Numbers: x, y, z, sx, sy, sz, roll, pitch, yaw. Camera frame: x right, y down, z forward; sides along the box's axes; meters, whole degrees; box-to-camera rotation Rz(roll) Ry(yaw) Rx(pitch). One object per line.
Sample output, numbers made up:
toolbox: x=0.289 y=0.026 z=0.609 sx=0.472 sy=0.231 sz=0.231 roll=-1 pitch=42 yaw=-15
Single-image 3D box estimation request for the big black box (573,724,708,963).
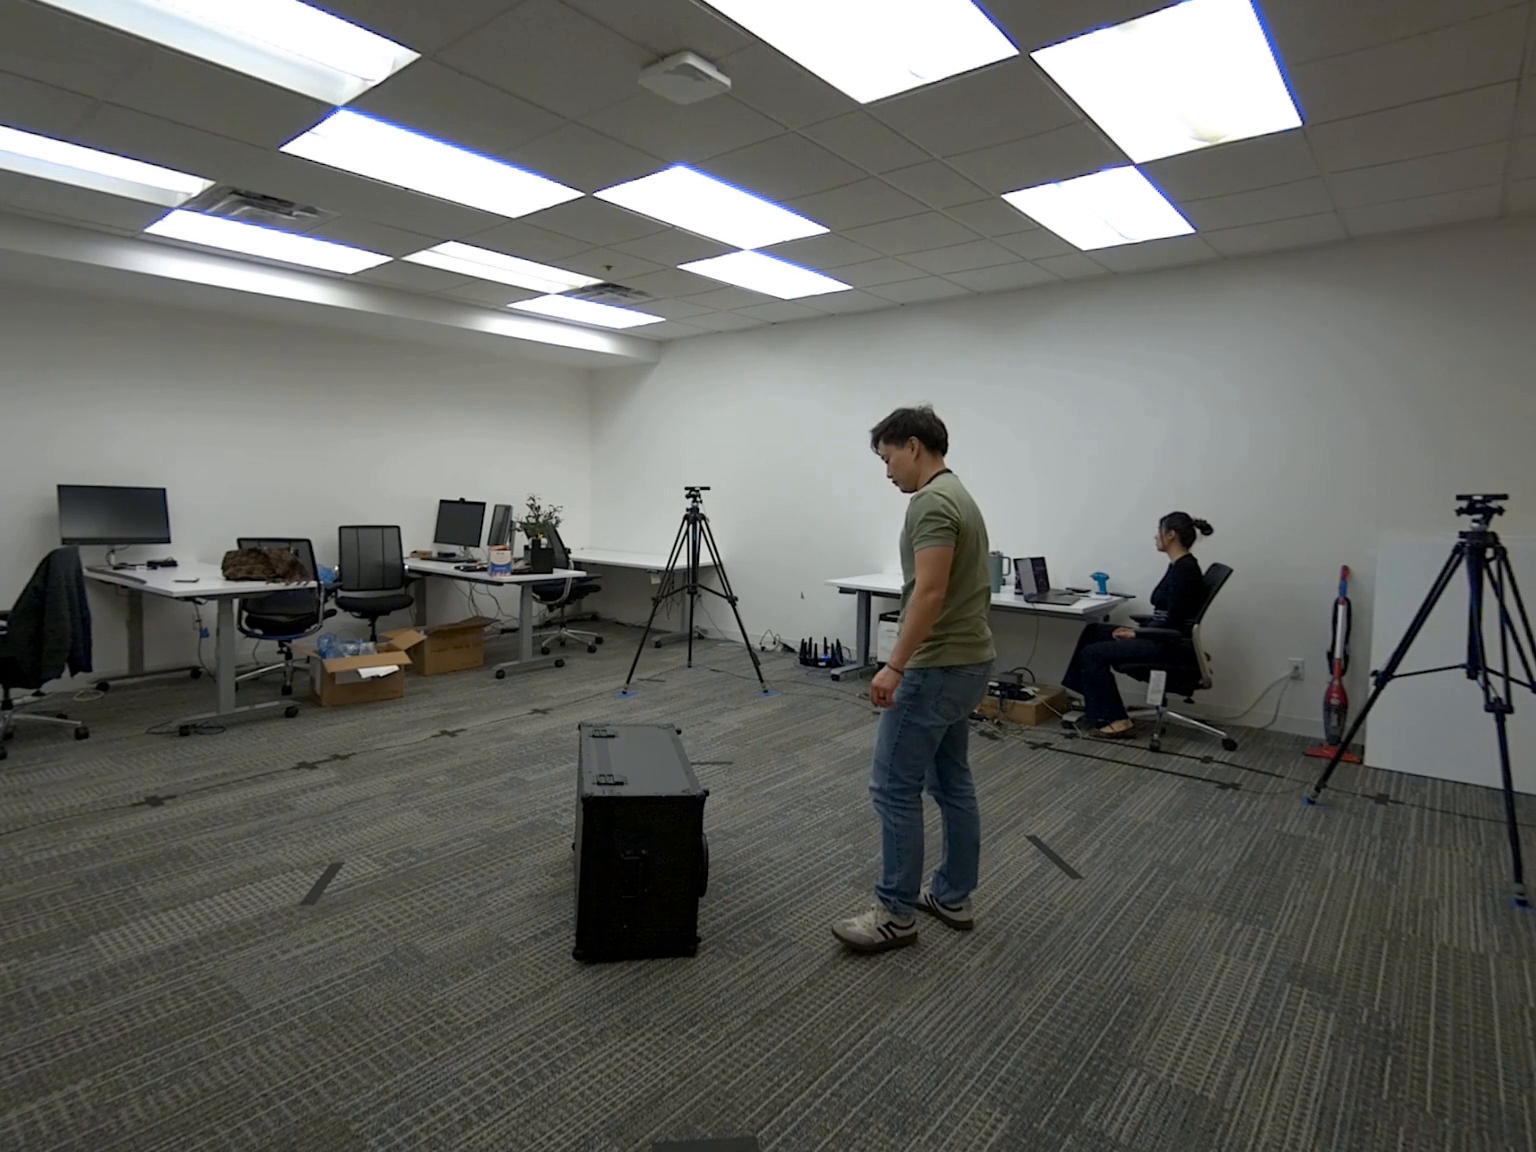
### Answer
big black box: x=-0.466 y=0.826 z=2.892 sx=0.391 sy=0.519 sz=0.876 roll=2 pitch=5 yaw=-13
